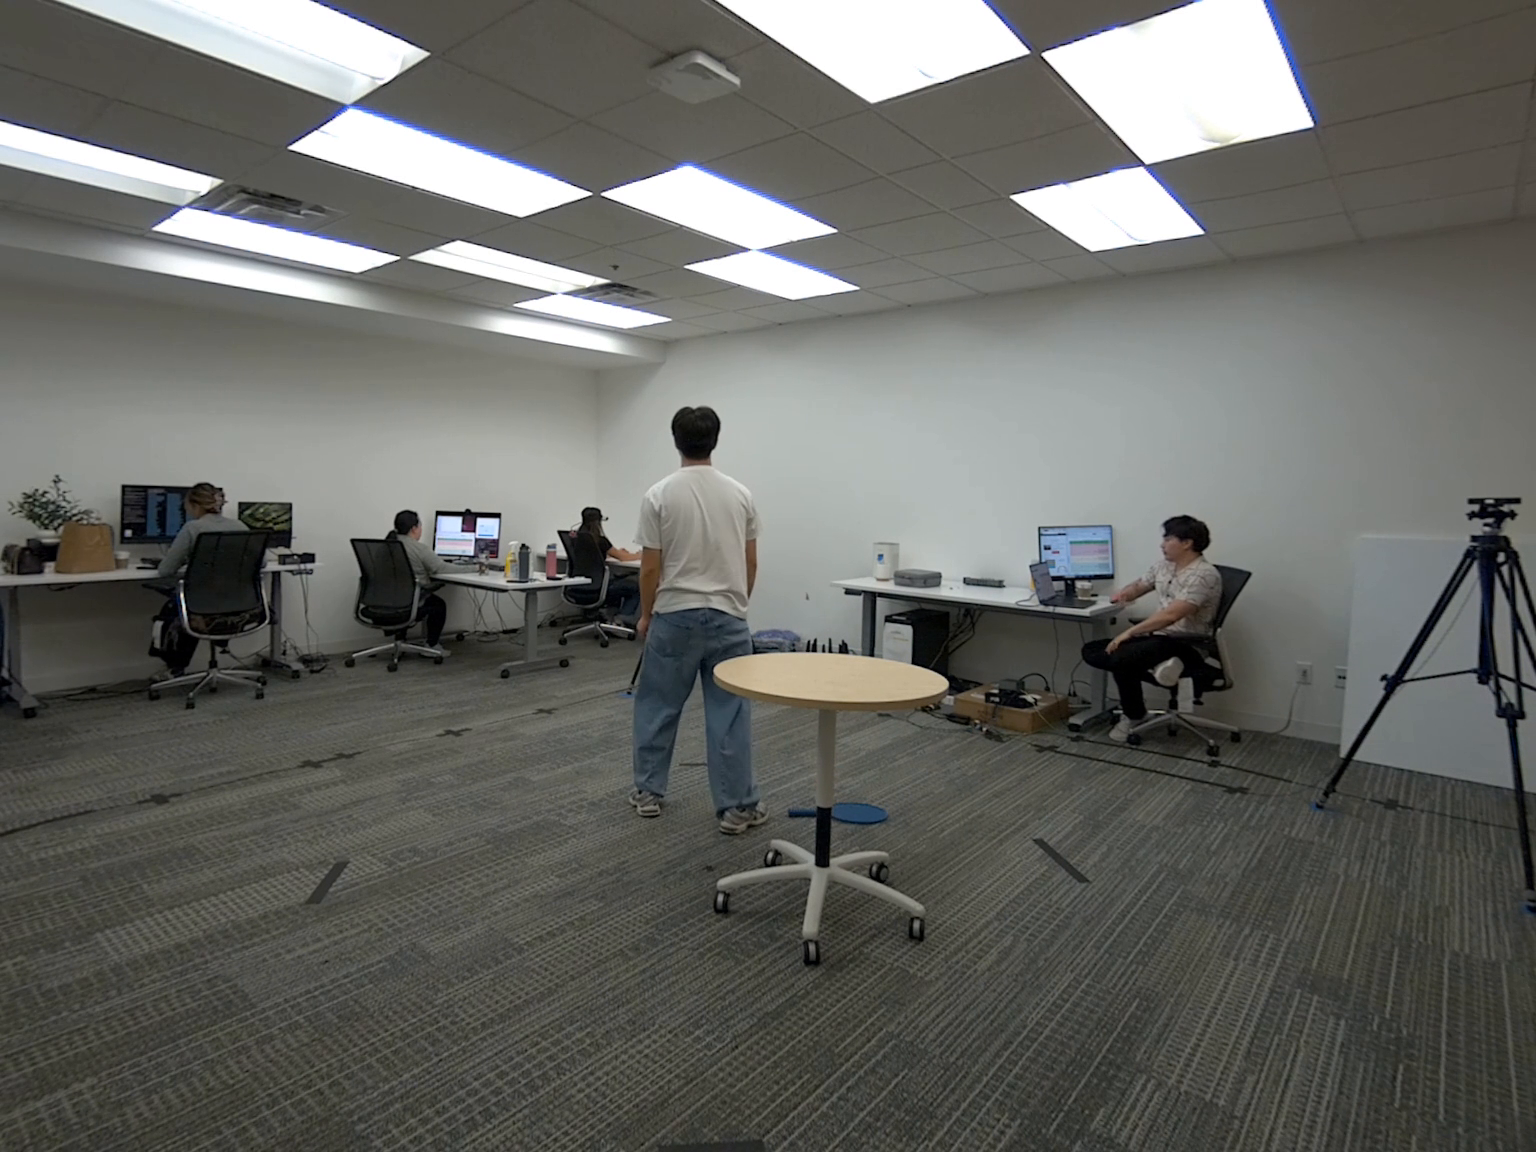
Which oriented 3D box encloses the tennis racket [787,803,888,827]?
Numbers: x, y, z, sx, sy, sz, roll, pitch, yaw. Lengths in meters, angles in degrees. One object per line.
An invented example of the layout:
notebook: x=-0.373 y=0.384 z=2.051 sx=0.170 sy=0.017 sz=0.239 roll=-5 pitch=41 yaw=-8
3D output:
tennis racket: x=0.293 y=1.016 z=3.648 sx=0.431 sy=0.031 sz=0.216 roll=2 pitch=6 yaw=-4
